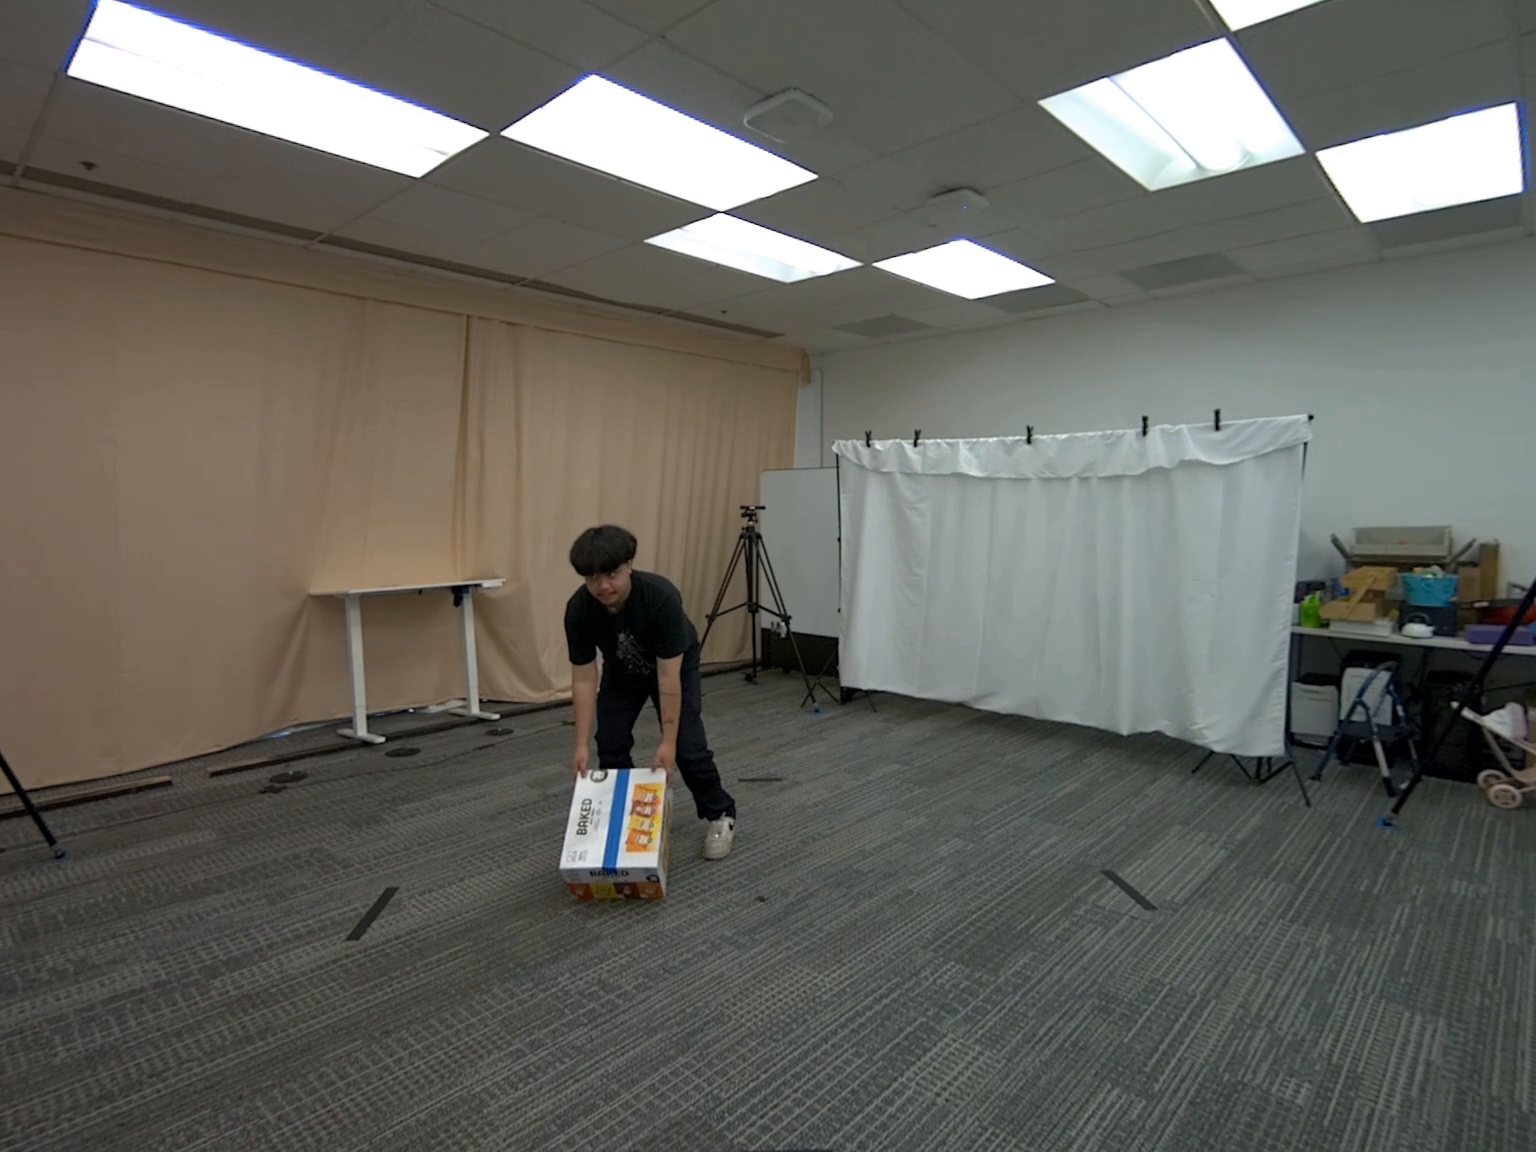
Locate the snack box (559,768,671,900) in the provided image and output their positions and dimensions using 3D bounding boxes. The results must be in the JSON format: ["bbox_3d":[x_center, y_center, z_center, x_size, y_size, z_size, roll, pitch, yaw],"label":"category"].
[{"bbox_3d":[-0.534,0.932,3.067,0.342,0.201,0.412,-3,41,4],"label":"snack box"}]
